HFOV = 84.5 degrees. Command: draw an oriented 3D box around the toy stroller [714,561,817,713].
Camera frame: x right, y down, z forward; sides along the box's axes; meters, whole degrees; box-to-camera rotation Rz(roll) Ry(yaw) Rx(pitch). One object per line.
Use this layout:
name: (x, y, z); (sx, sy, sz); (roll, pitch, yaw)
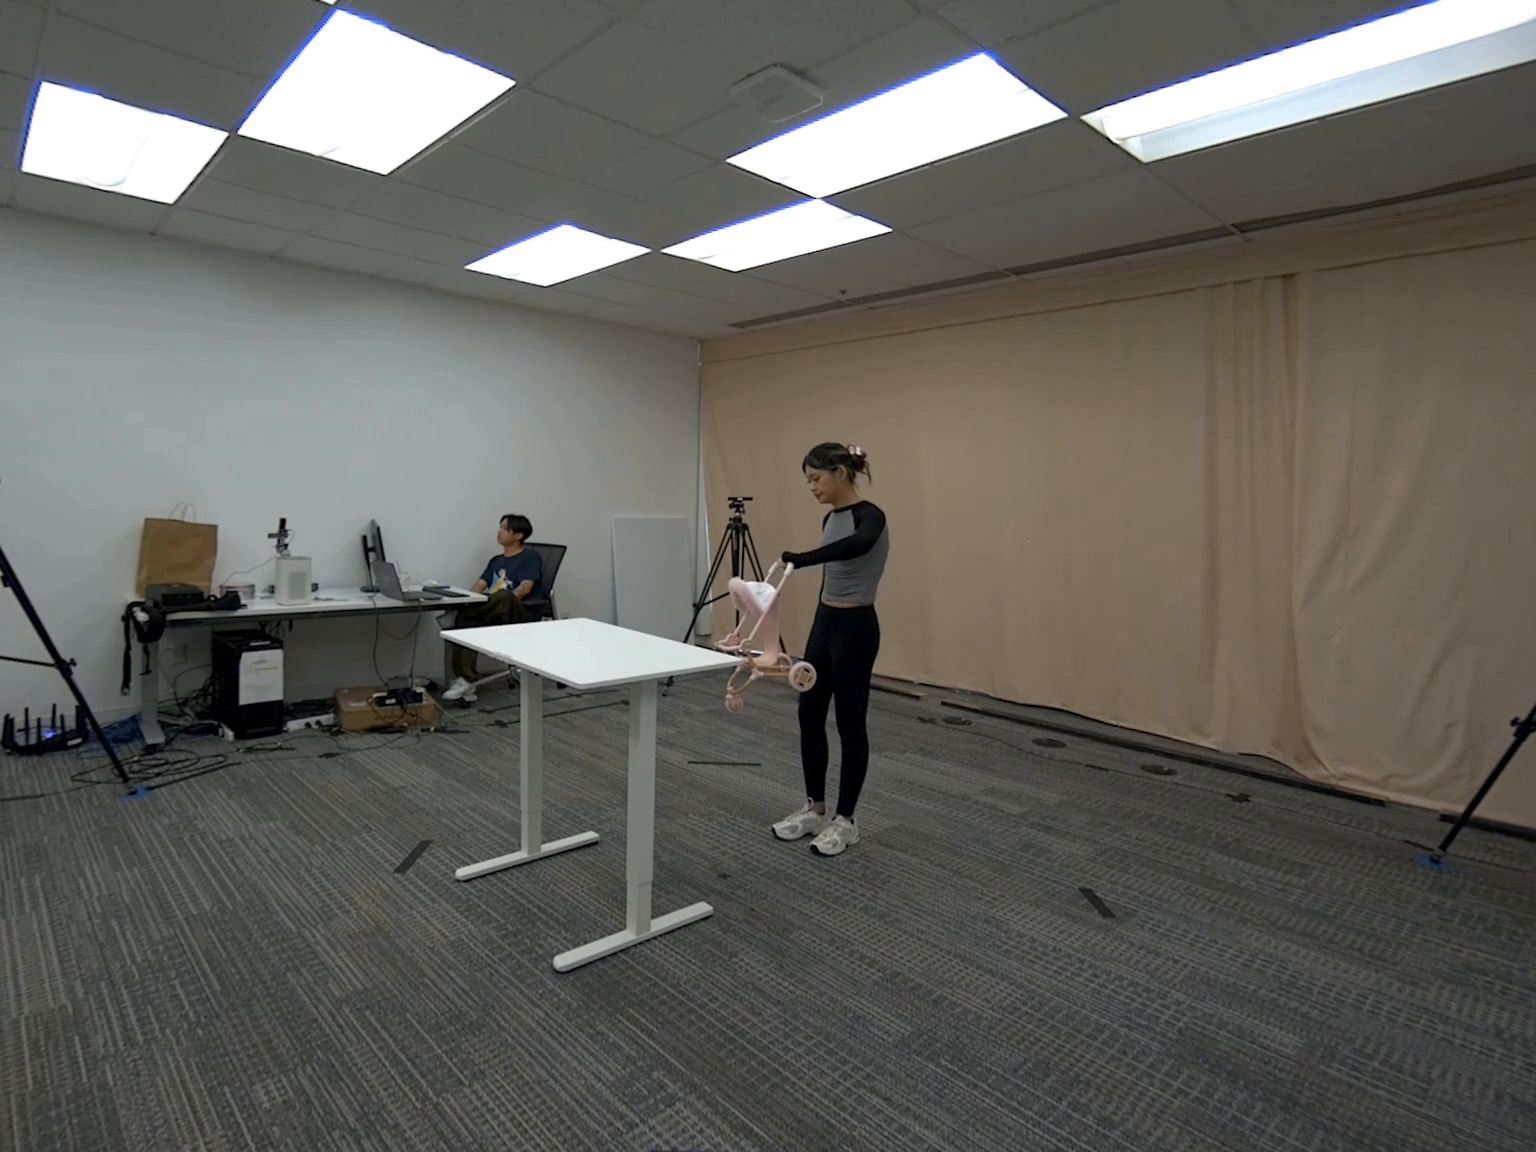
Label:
toy stroller: (-0.055, 0.231, 3.174); (0.338, 0.533, 0.285); (-10, 5, -13)
